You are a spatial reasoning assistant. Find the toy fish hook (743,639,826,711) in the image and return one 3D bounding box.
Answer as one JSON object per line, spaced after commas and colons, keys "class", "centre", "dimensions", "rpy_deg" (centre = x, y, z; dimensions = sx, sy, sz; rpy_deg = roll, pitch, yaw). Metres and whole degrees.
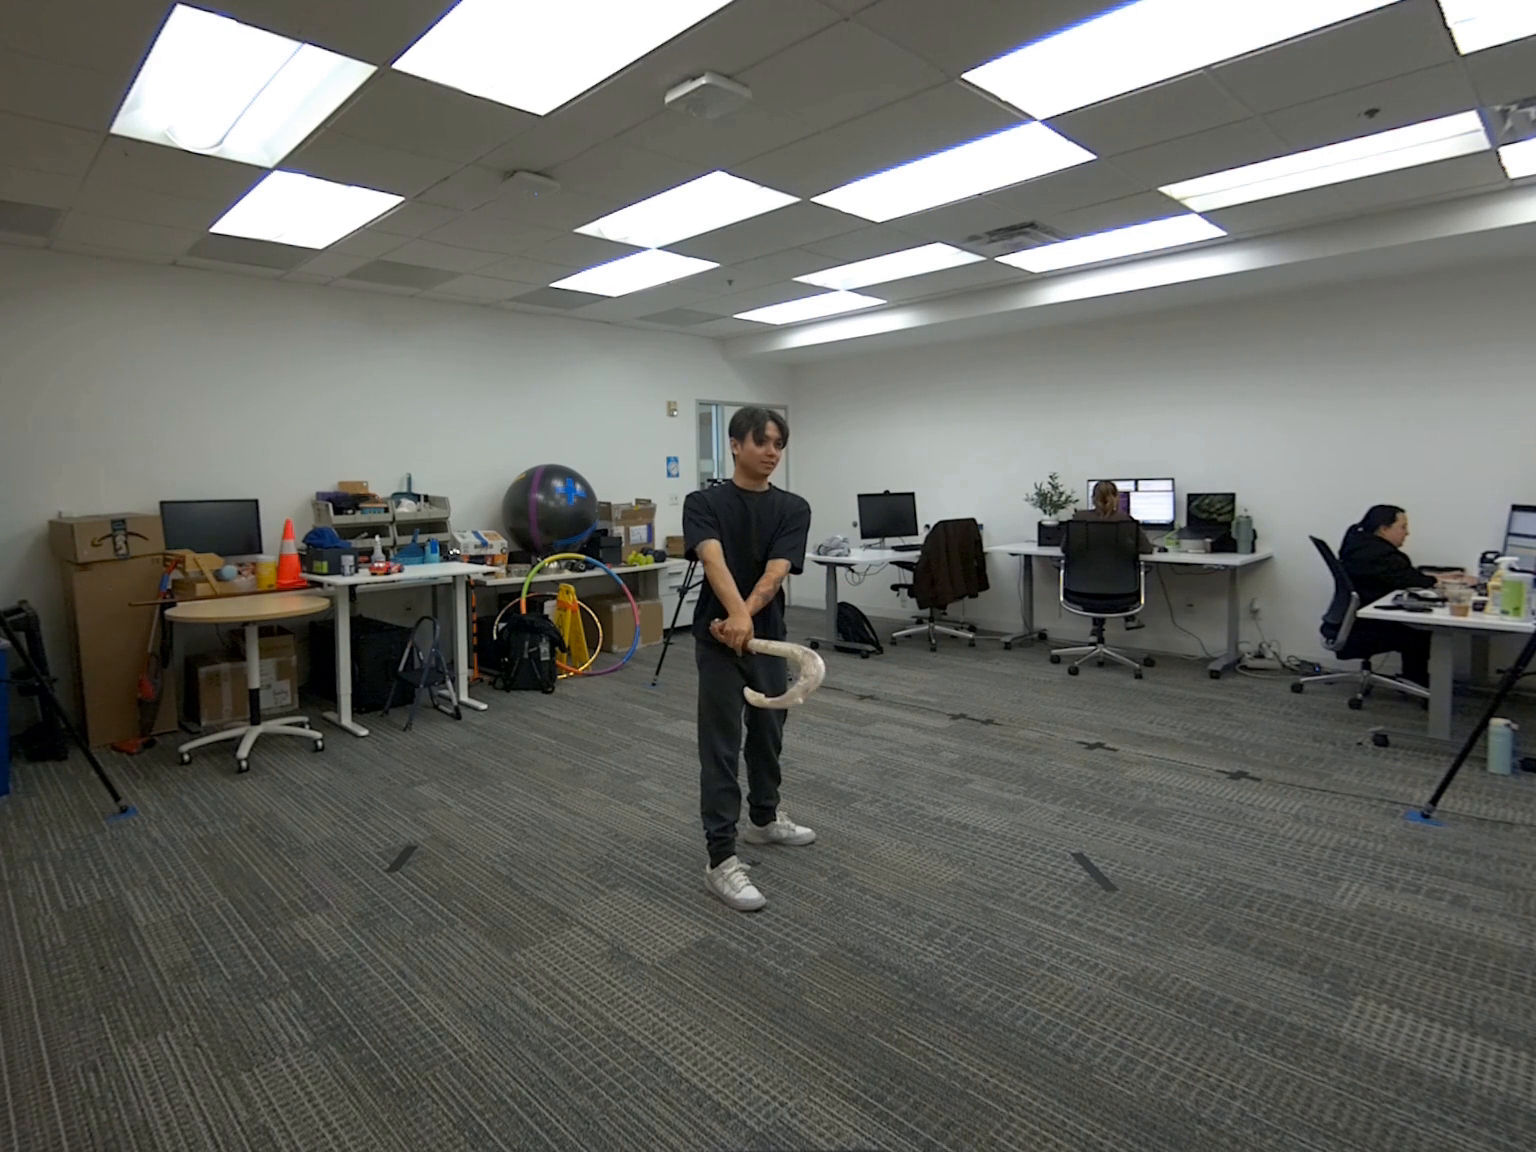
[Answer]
{"class": "toy fish hook", "centre": [-0.053, 0.234, 2.483], "dimensions": [0.224, 0.047, 0.525], "rpy_deg": [-40, 33, -22]}
